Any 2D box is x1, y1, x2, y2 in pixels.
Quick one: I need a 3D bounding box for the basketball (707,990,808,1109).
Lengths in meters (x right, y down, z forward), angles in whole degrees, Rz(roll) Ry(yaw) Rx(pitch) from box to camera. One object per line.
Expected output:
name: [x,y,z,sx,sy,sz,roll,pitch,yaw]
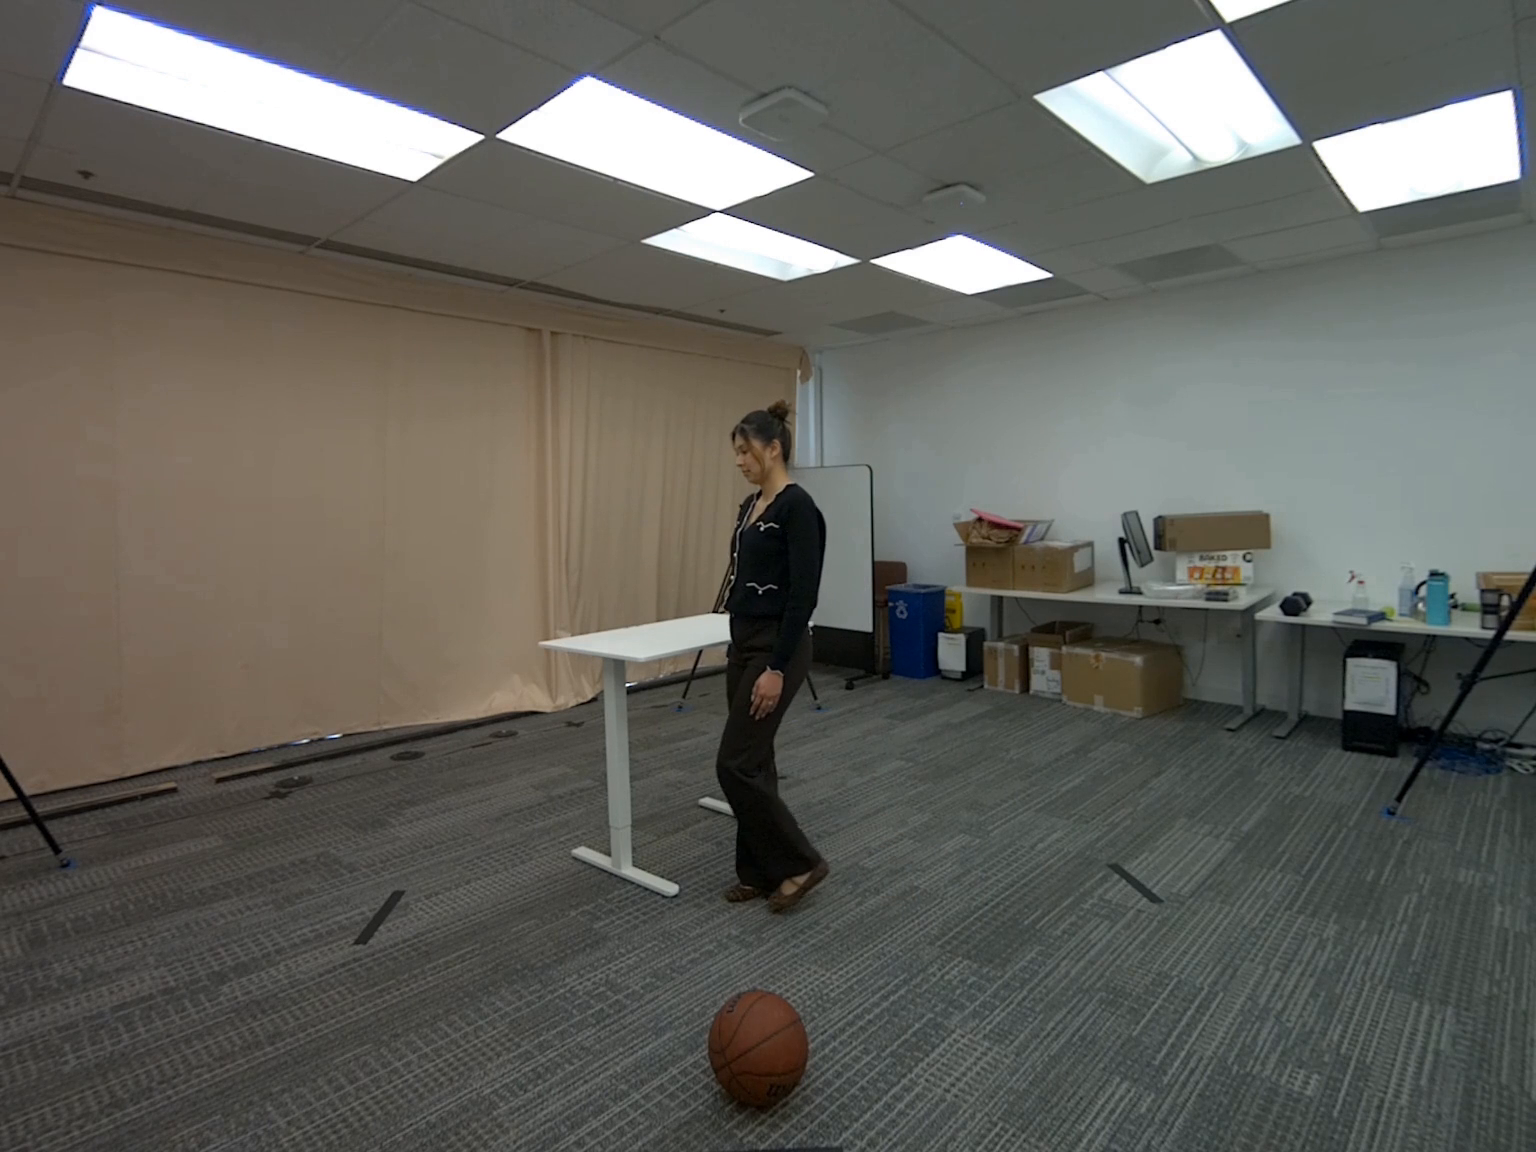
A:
basketball: [-0.029,1.106,1.985,0.236,0.235,0.237,-1,4,-2]
